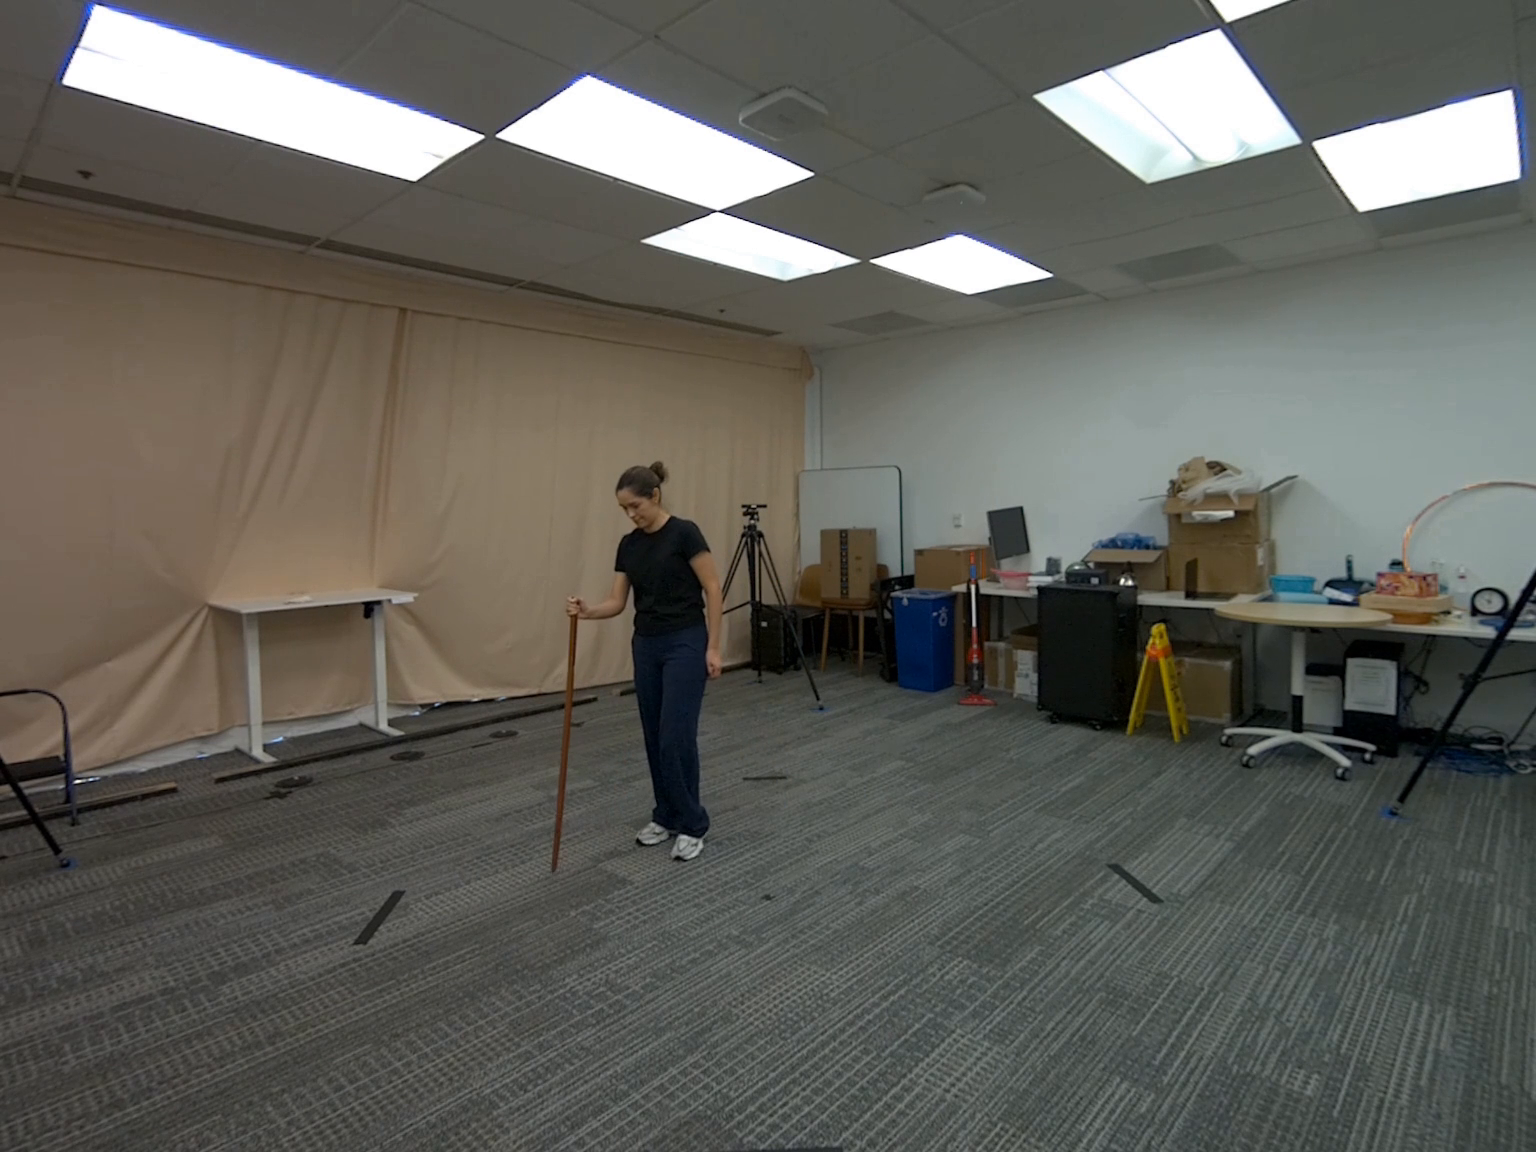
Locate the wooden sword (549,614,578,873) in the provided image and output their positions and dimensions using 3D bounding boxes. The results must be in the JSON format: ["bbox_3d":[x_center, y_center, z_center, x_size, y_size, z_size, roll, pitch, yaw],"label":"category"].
[{"bbox_3d":[-0.761,0.604,3.240,0.024,1.032,0.051,3,-12,-12],"label":"wooden sword"}]
